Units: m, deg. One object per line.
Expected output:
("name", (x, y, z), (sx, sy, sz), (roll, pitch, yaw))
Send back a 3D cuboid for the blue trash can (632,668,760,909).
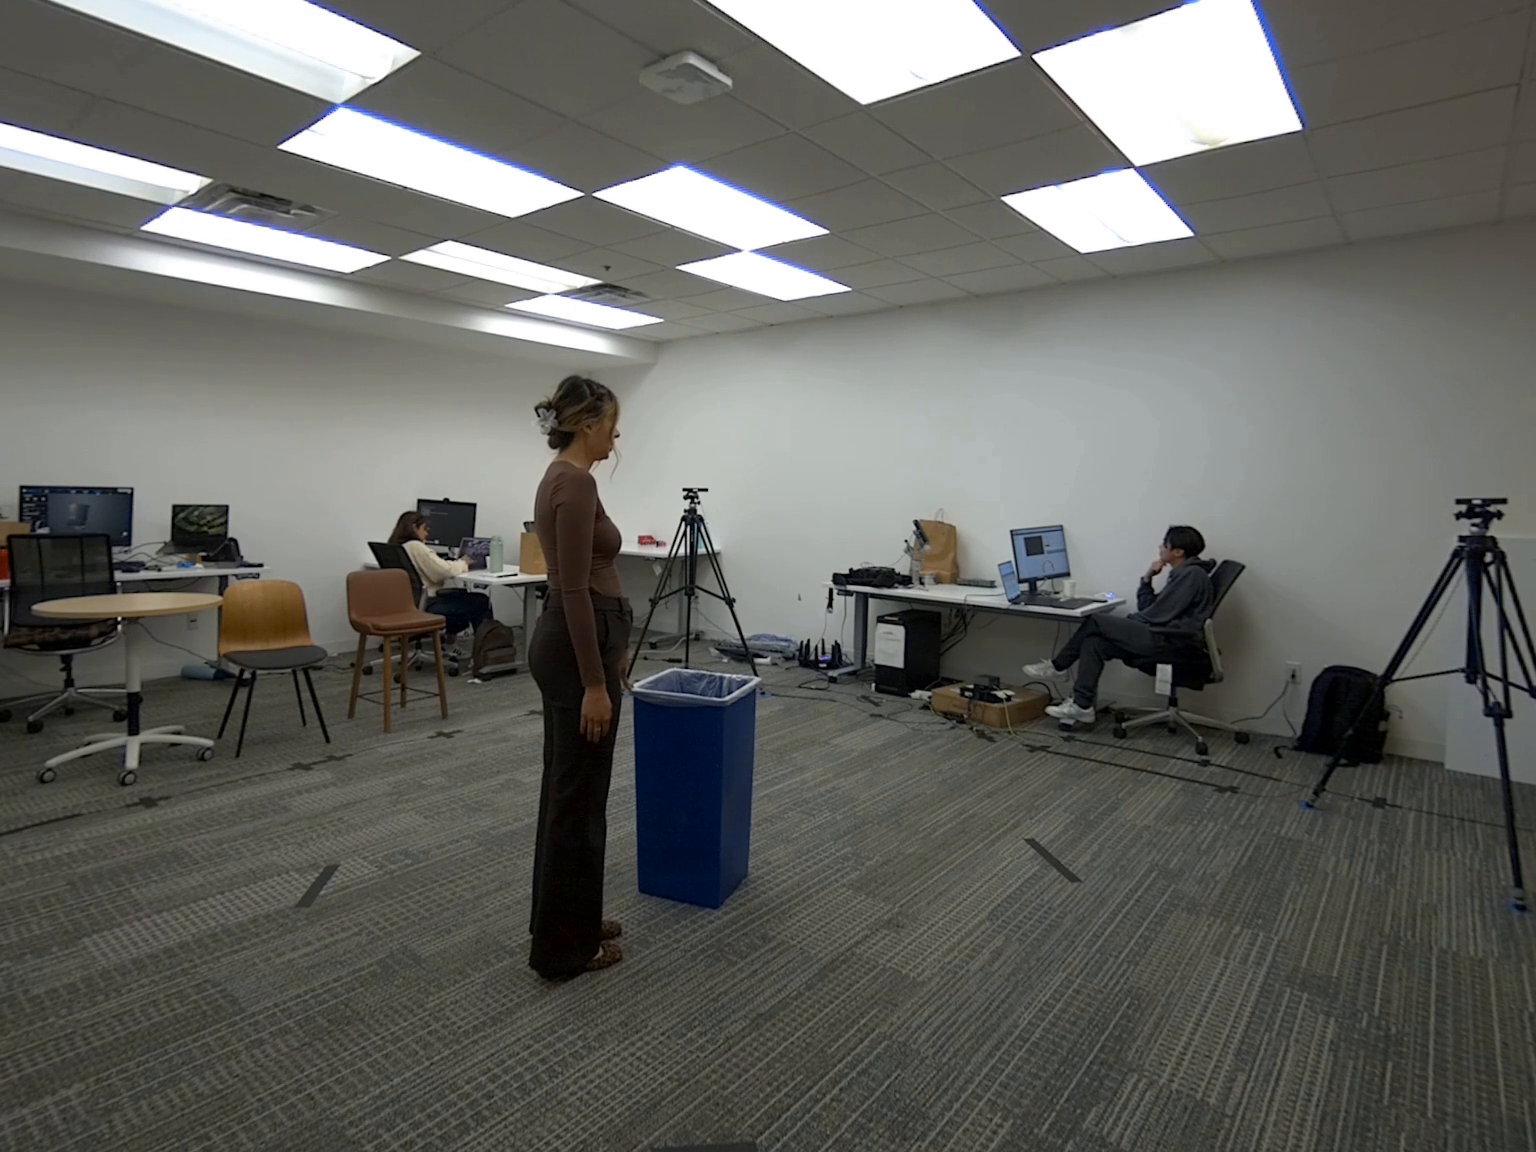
("blue trash can", (-0.262, 0.722, 2.978), (0.387, 0.712, 0.366), (2, 3, 21))
